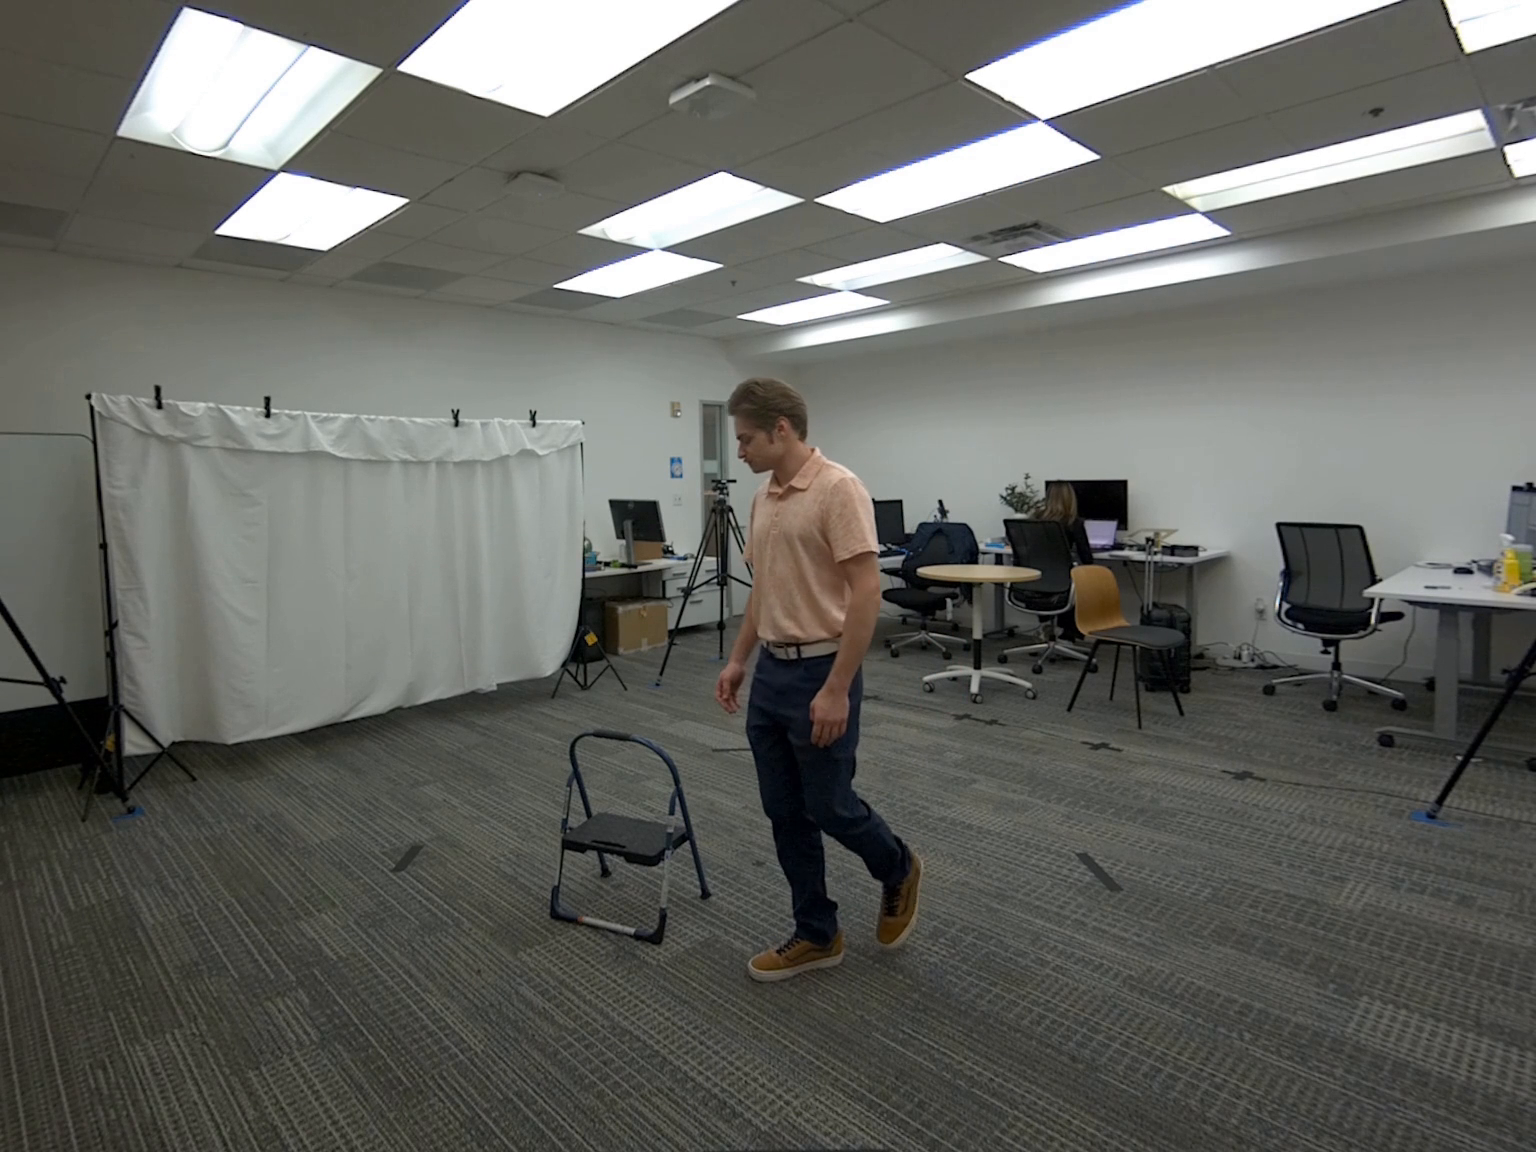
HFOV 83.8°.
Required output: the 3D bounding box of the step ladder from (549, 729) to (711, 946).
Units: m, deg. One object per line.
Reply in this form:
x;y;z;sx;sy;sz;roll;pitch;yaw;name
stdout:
-0.456;0.788;2.798;0.440;0.604;0.343;1;4;23;step ladder
